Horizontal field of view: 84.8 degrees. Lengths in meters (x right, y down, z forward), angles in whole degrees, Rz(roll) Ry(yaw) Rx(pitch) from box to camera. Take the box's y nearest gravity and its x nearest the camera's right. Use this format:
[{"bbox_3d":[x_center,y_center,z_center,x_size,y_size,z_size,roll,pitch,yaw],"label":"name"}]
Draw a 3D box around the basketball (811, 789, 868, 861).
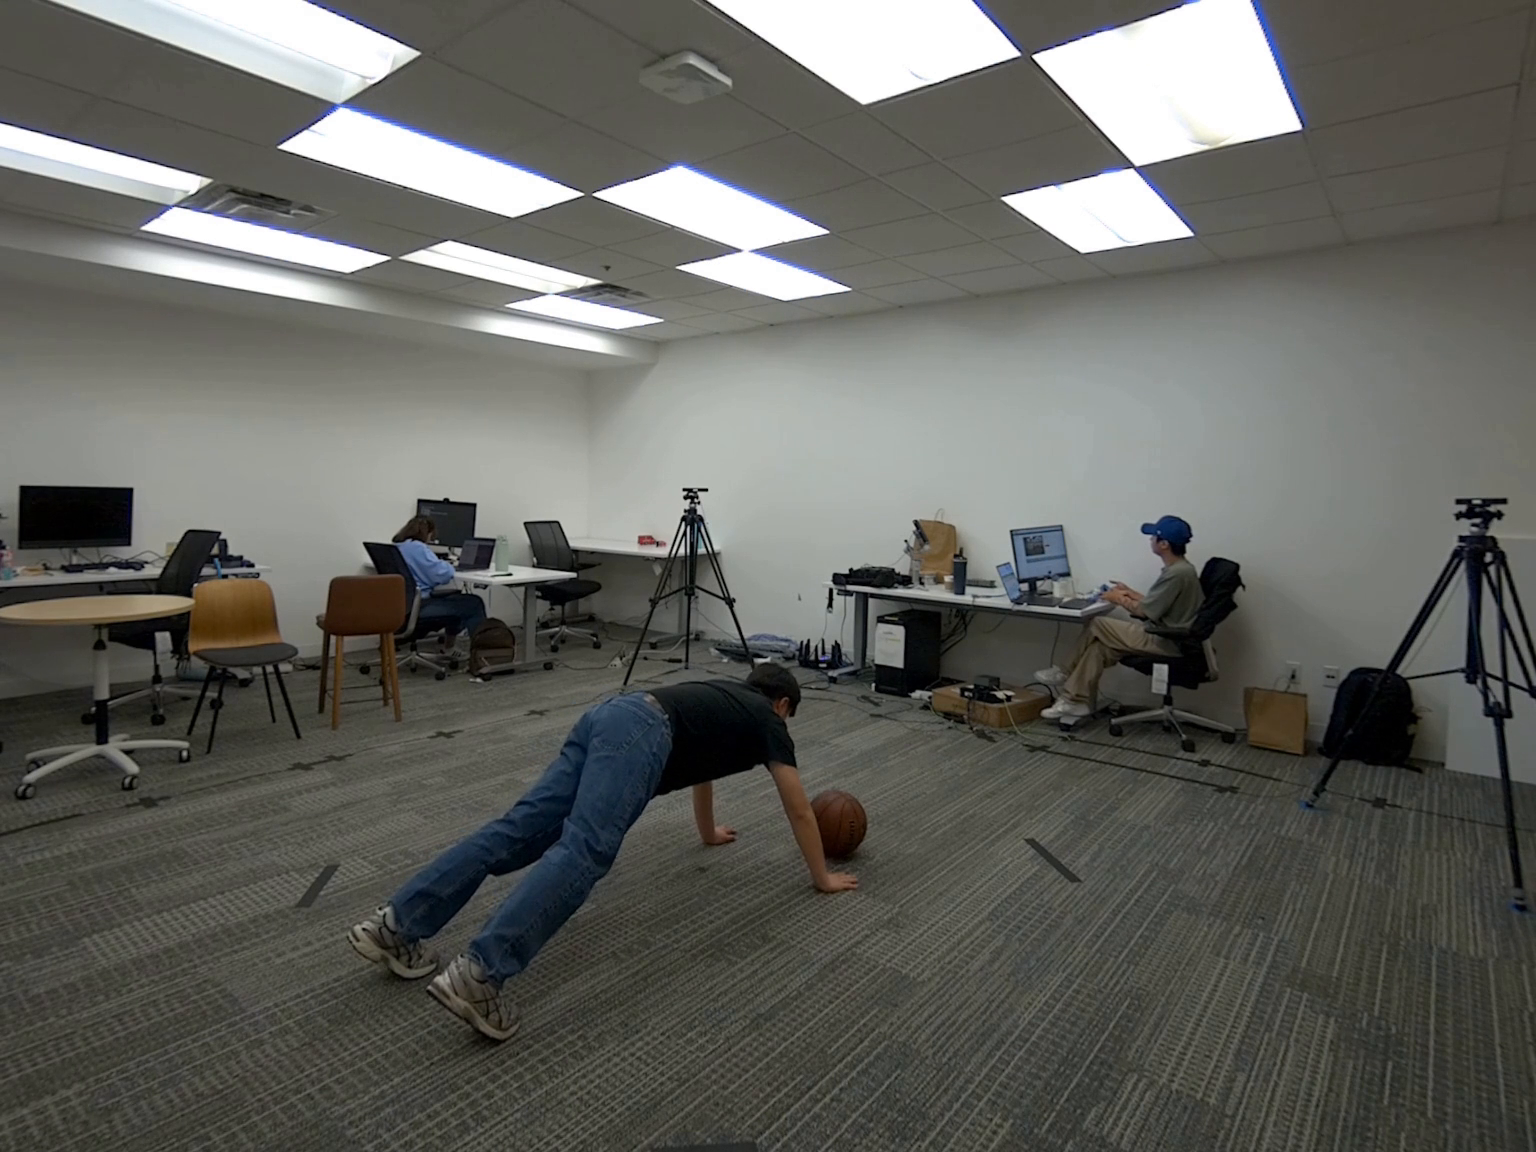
[{"bbox_3d":[0.249,0.935,3.272,0.235,0.235,0.237,1,4,-2],"label":"basketball"}]
